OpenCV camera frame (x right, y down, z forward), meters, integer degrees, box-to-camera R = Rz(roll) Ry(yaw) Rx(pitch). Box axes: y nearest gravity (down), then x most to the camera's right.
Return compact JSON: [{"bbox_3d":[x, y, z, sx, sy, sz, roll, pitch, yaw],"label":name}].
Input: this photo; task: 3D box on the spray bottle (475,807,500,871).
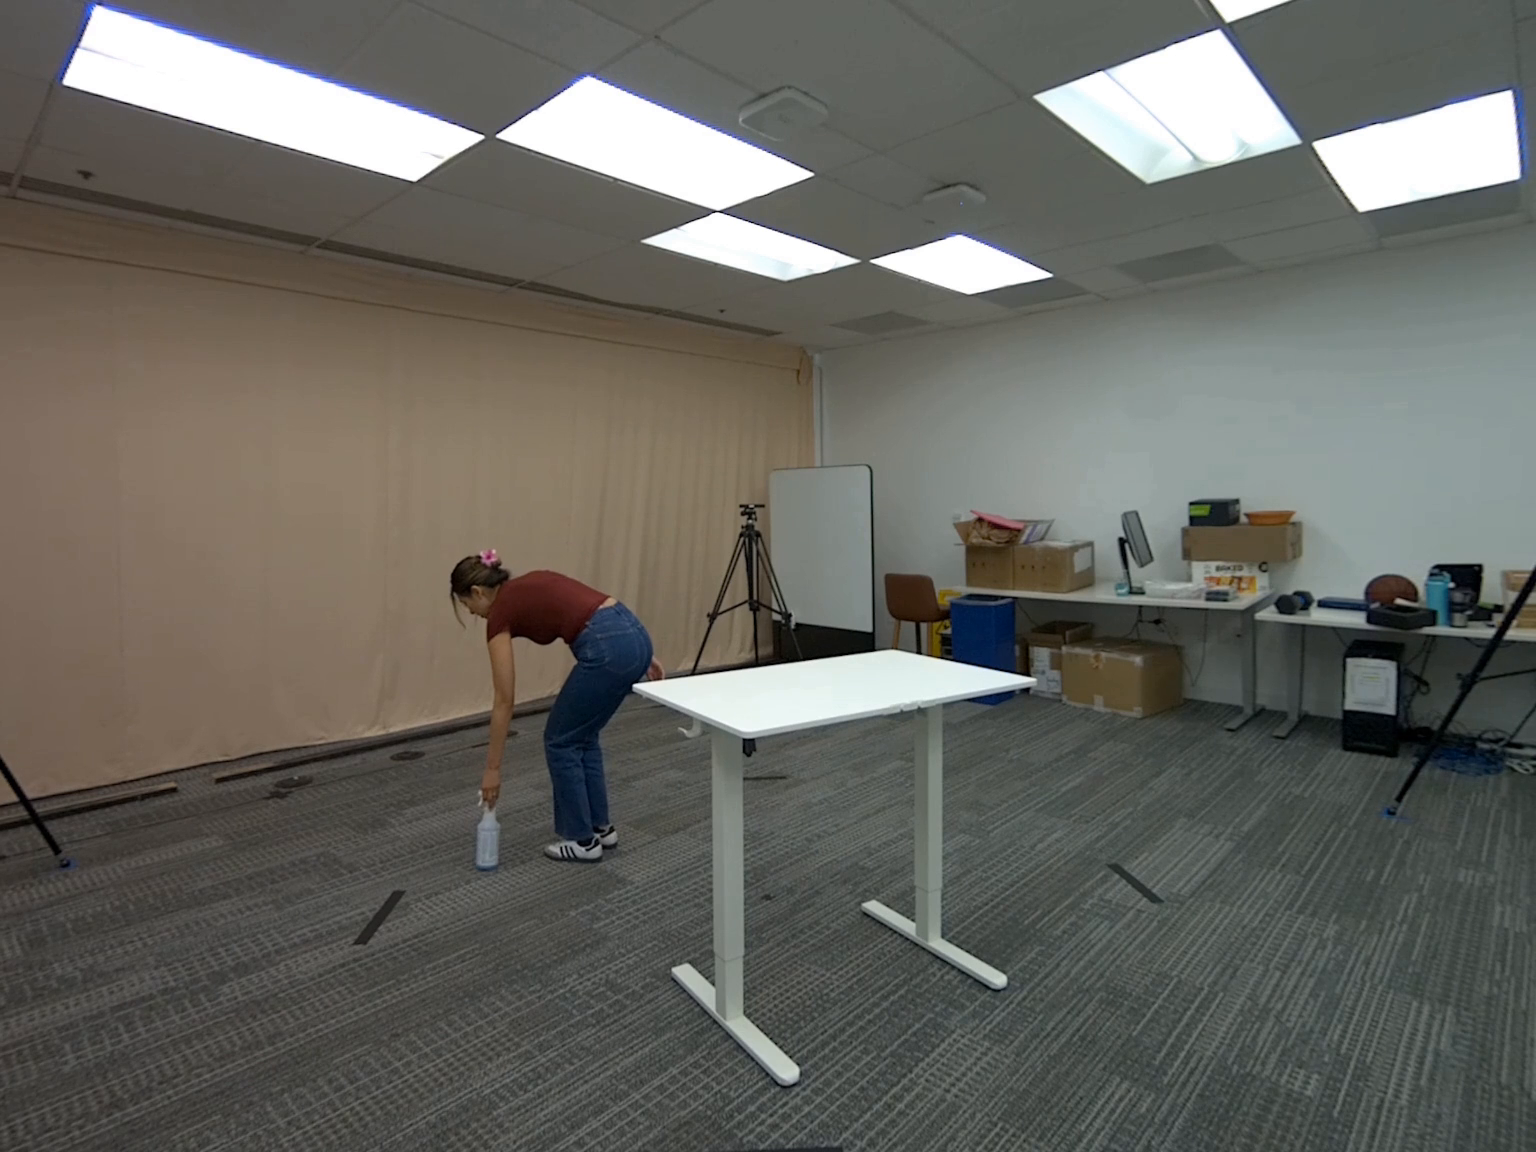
[{"bbox_3d":[-1.099,0.987,3.297,0.088,0.298,0.089,1,-2,-20],"label":"spray bottle"}]
